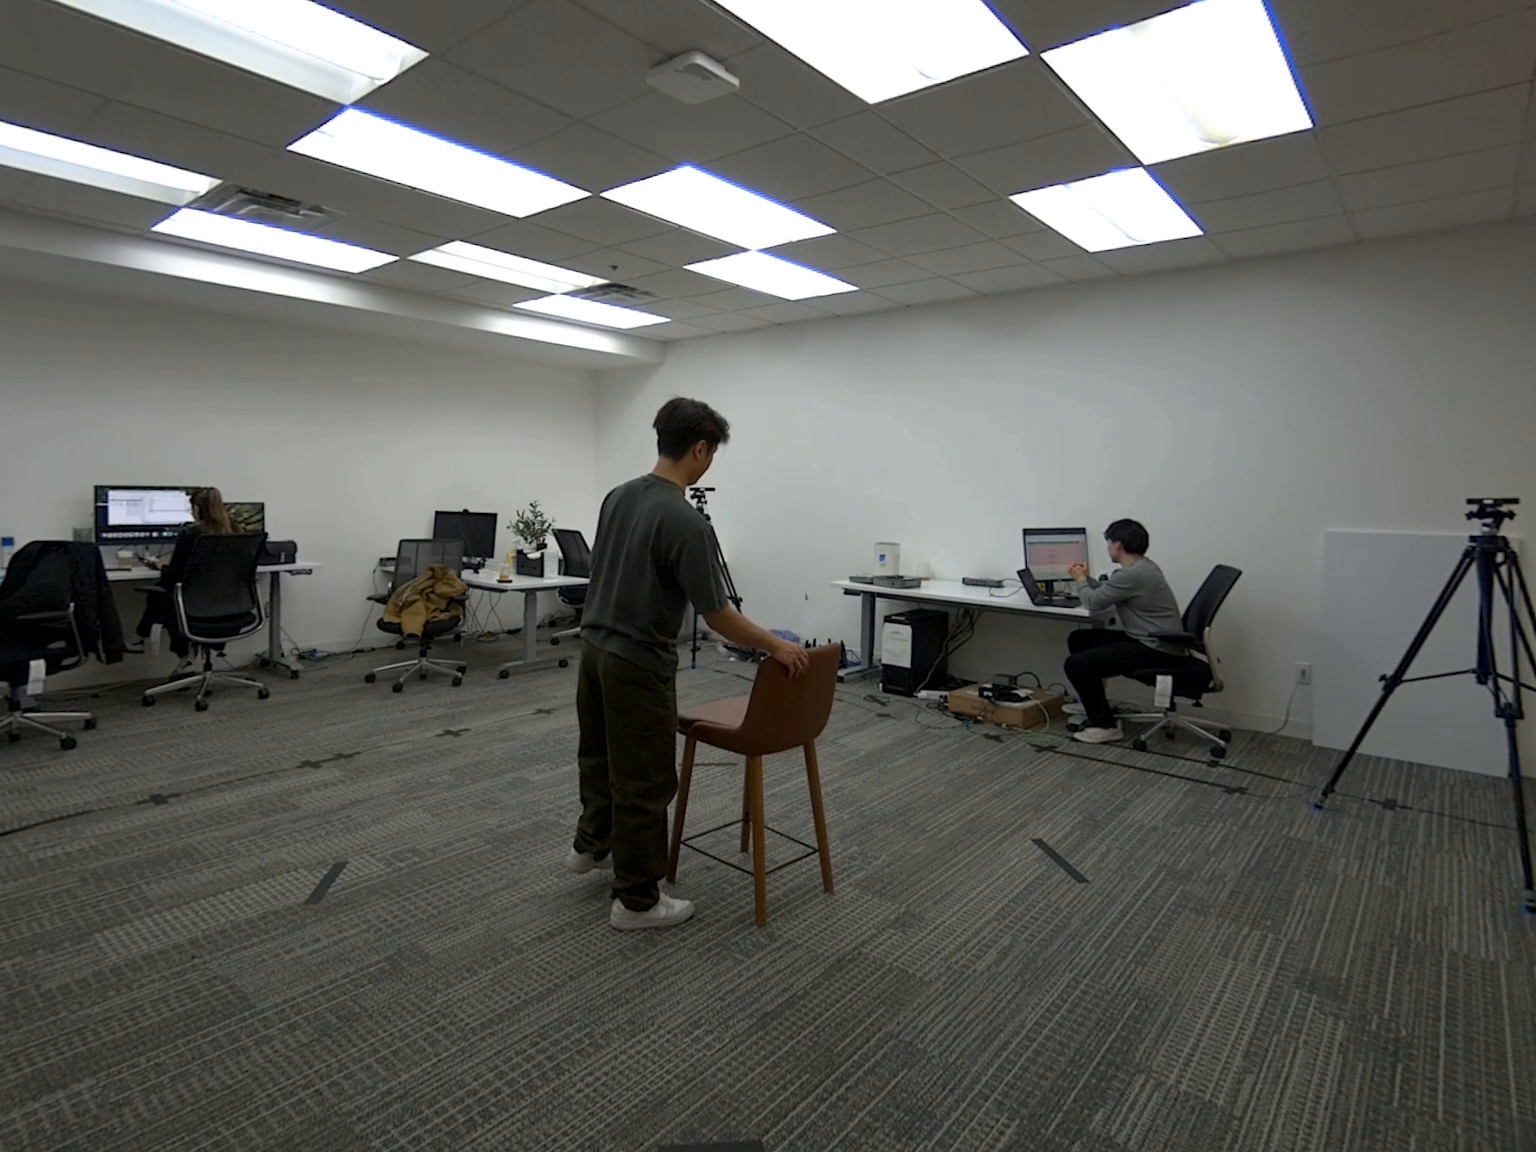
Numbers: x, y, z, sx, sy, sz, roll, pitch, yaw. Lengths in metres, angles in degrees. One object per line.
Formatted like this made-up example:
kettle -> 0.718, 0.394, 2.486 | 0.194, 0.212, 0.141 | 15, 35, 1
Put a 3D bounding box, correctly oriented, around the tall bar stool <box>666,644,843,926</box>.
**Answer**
tall bar stool -> -0.047, 0.650, 2.960 | 0.484, 0.886, 0.442 | 7, 6, 43
